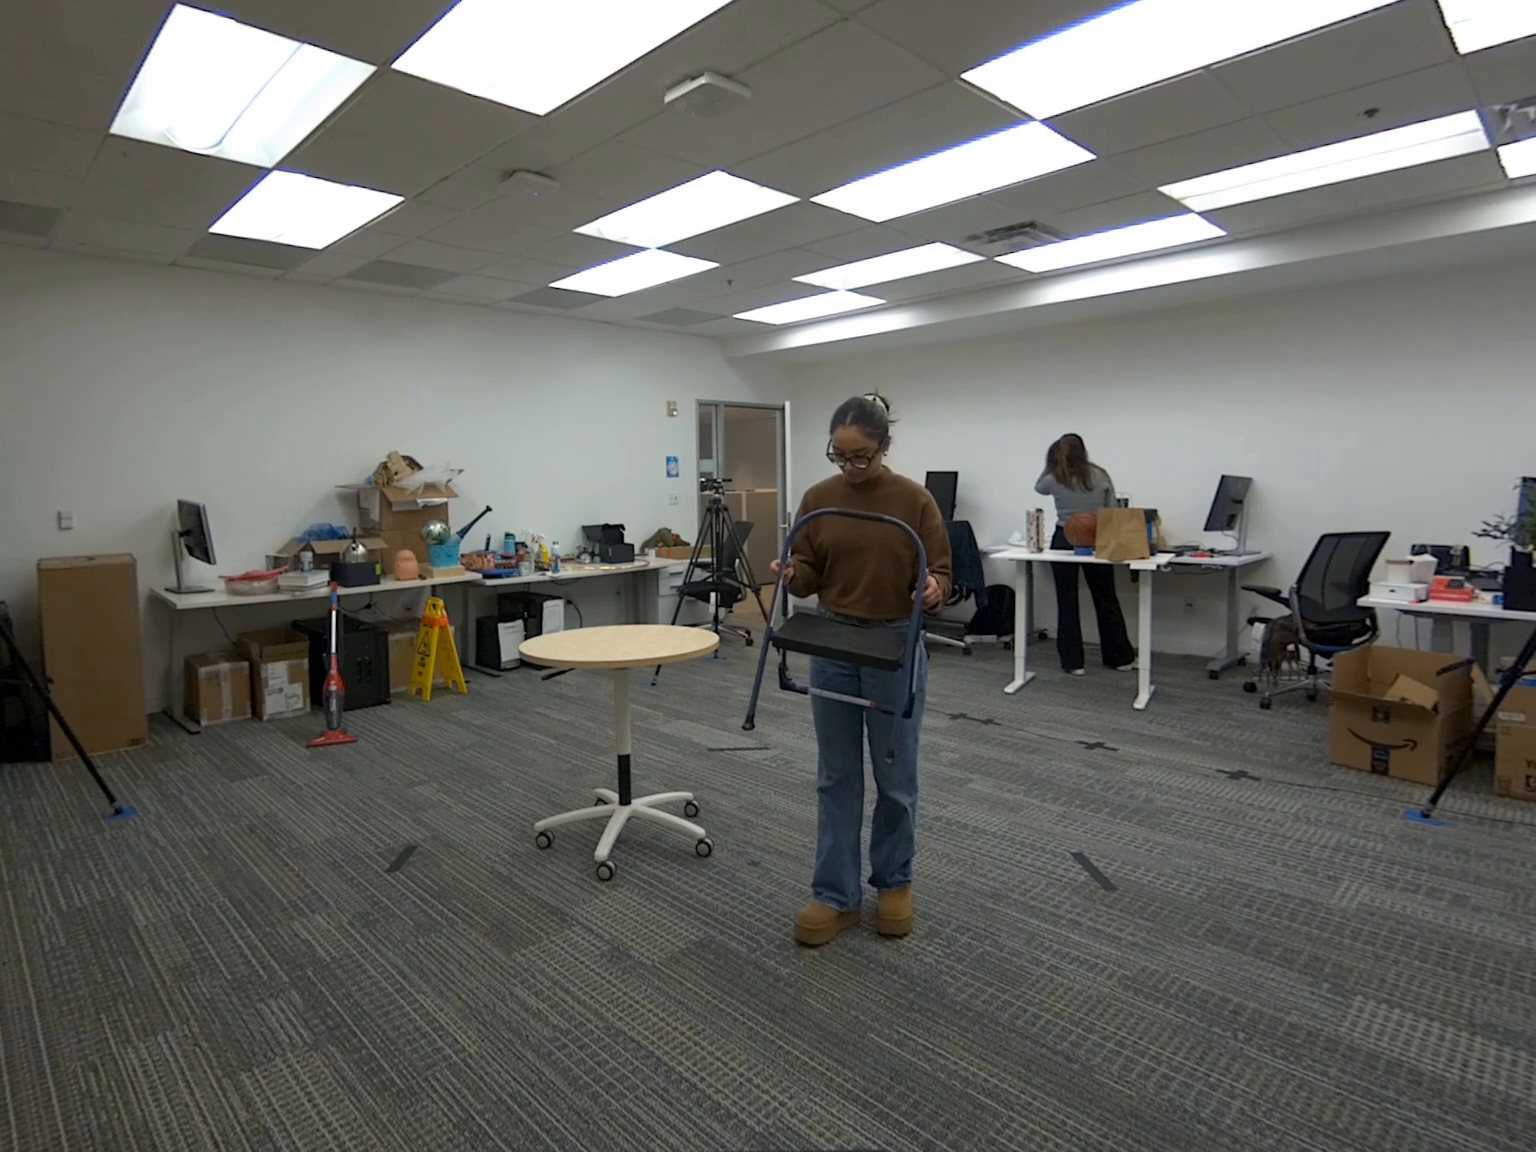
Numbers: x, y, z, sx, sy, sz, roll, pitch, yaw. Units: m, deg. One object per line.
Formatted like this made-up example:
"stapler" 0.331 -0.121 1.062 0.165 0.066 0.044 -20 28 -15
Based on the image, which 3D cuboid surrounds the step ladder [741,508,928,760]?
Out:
"step ladder" 0.225 0.134 2.380 0.438 0.599 0.347 9 14 16
